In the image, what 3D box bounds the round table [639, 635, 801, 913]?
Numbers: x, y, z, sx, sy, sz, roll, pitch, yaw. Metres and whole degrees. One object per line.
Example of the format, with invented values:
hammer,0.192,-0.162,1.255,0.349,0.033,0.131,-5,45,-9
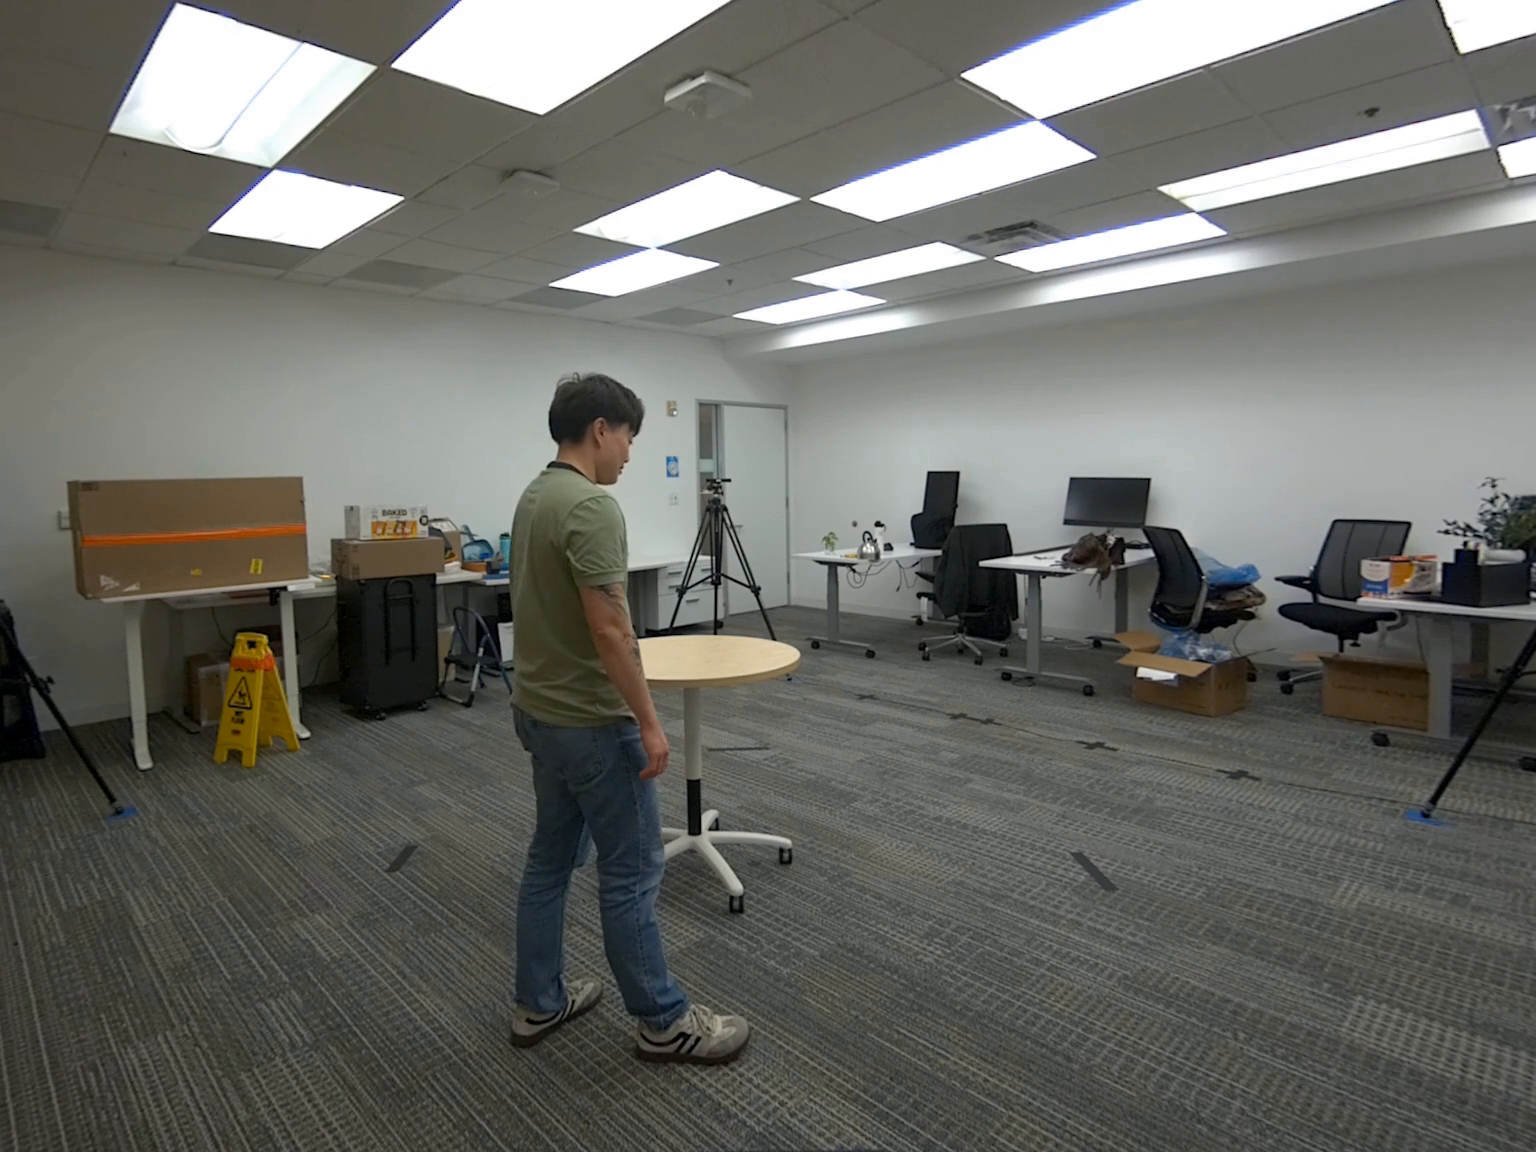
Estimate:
round table,-0.261,0.669,3.024,0.763,0.791,0.768,-1,5,-2
